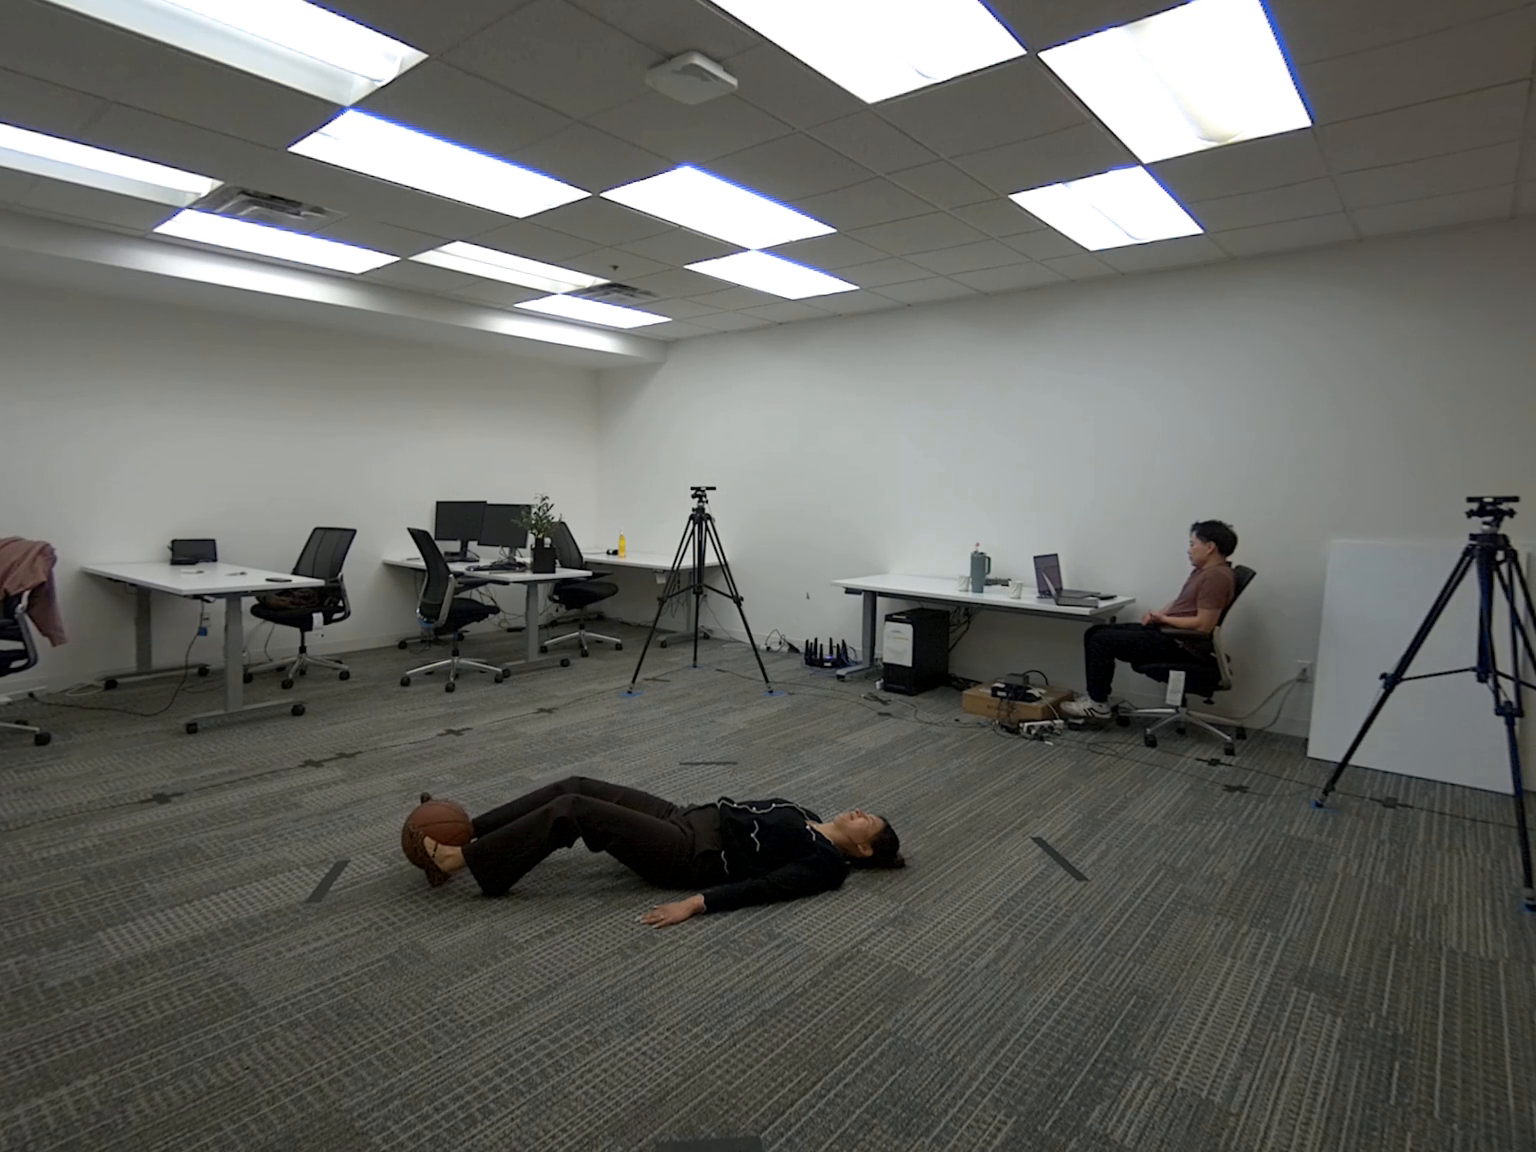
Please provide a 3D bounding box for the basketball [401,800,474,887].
[{"bbox_3d":[-1.170,0.899,2.964,0.236,0.234,0.238,0,7,-2],"label":"basketball"}]
